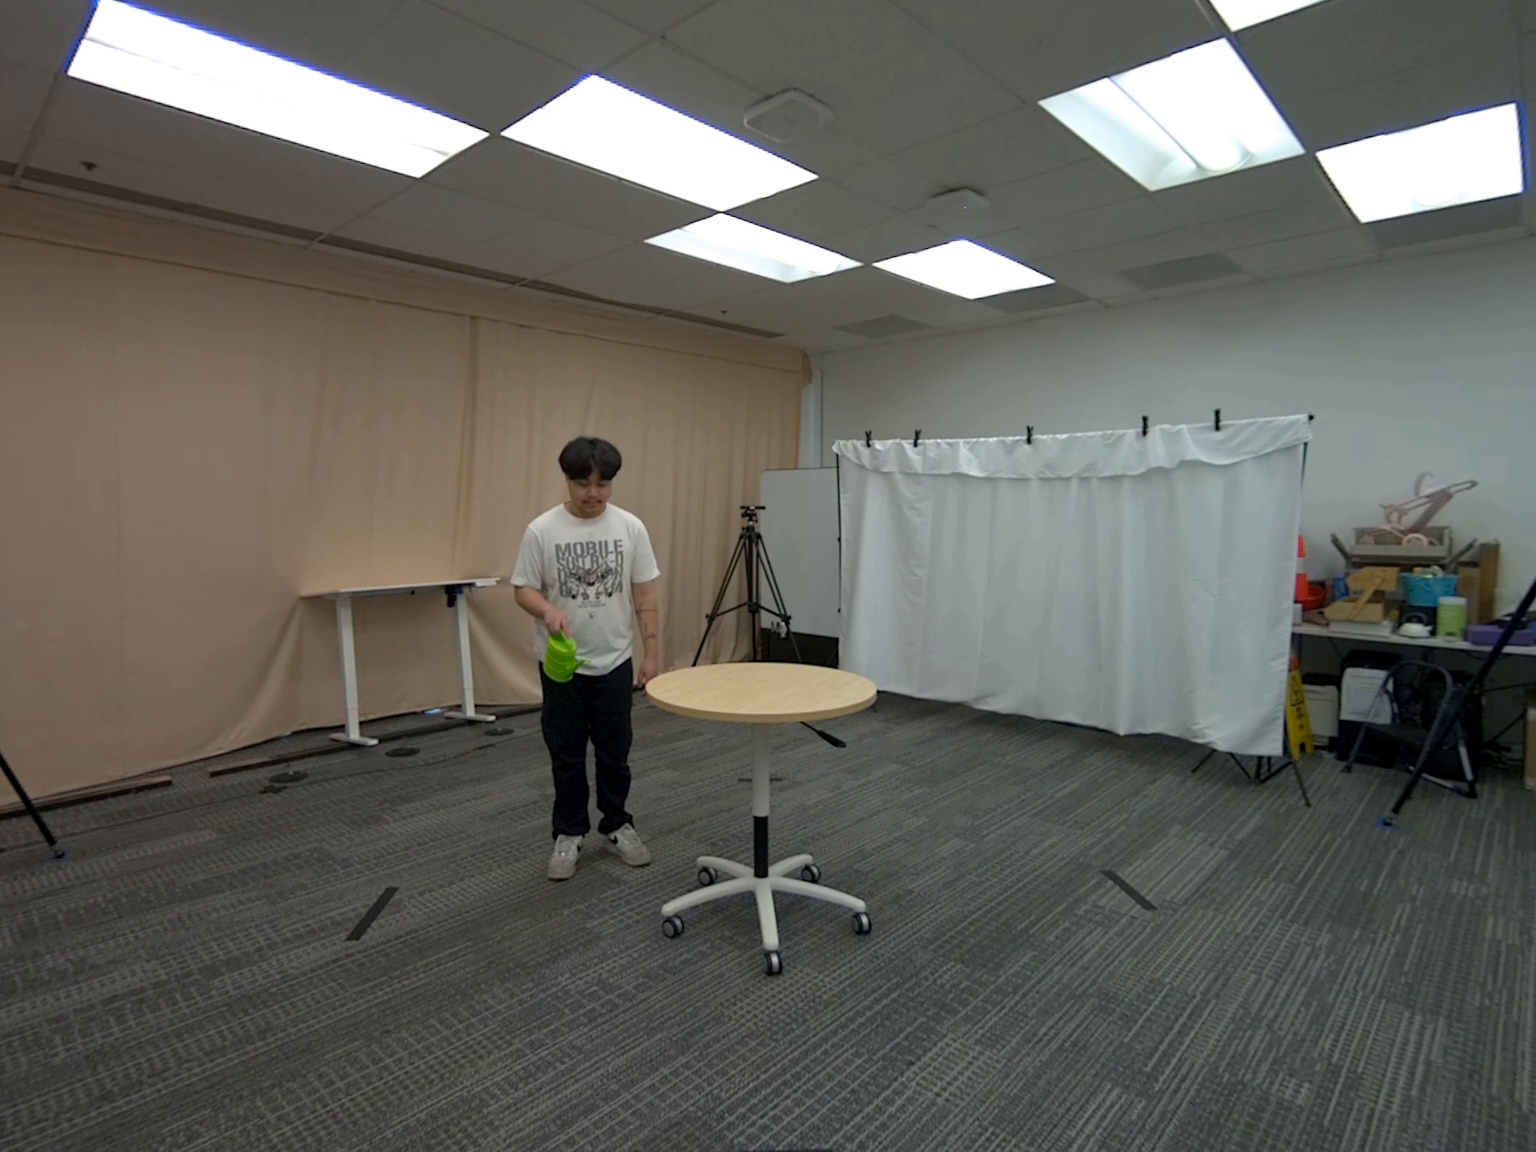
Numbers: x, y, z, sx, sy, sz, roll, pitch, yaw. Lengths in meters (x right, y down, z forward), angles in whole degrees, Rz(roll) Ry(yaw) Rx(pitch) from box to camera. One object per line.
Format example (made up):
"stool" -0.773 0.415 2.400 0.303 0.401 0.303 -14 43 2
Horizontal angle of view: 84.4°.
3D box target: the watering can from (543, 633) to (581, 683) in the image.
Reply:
"watering can" -0.717 0.295 2.964 0.095 0.175 0.288 2 28 -27
